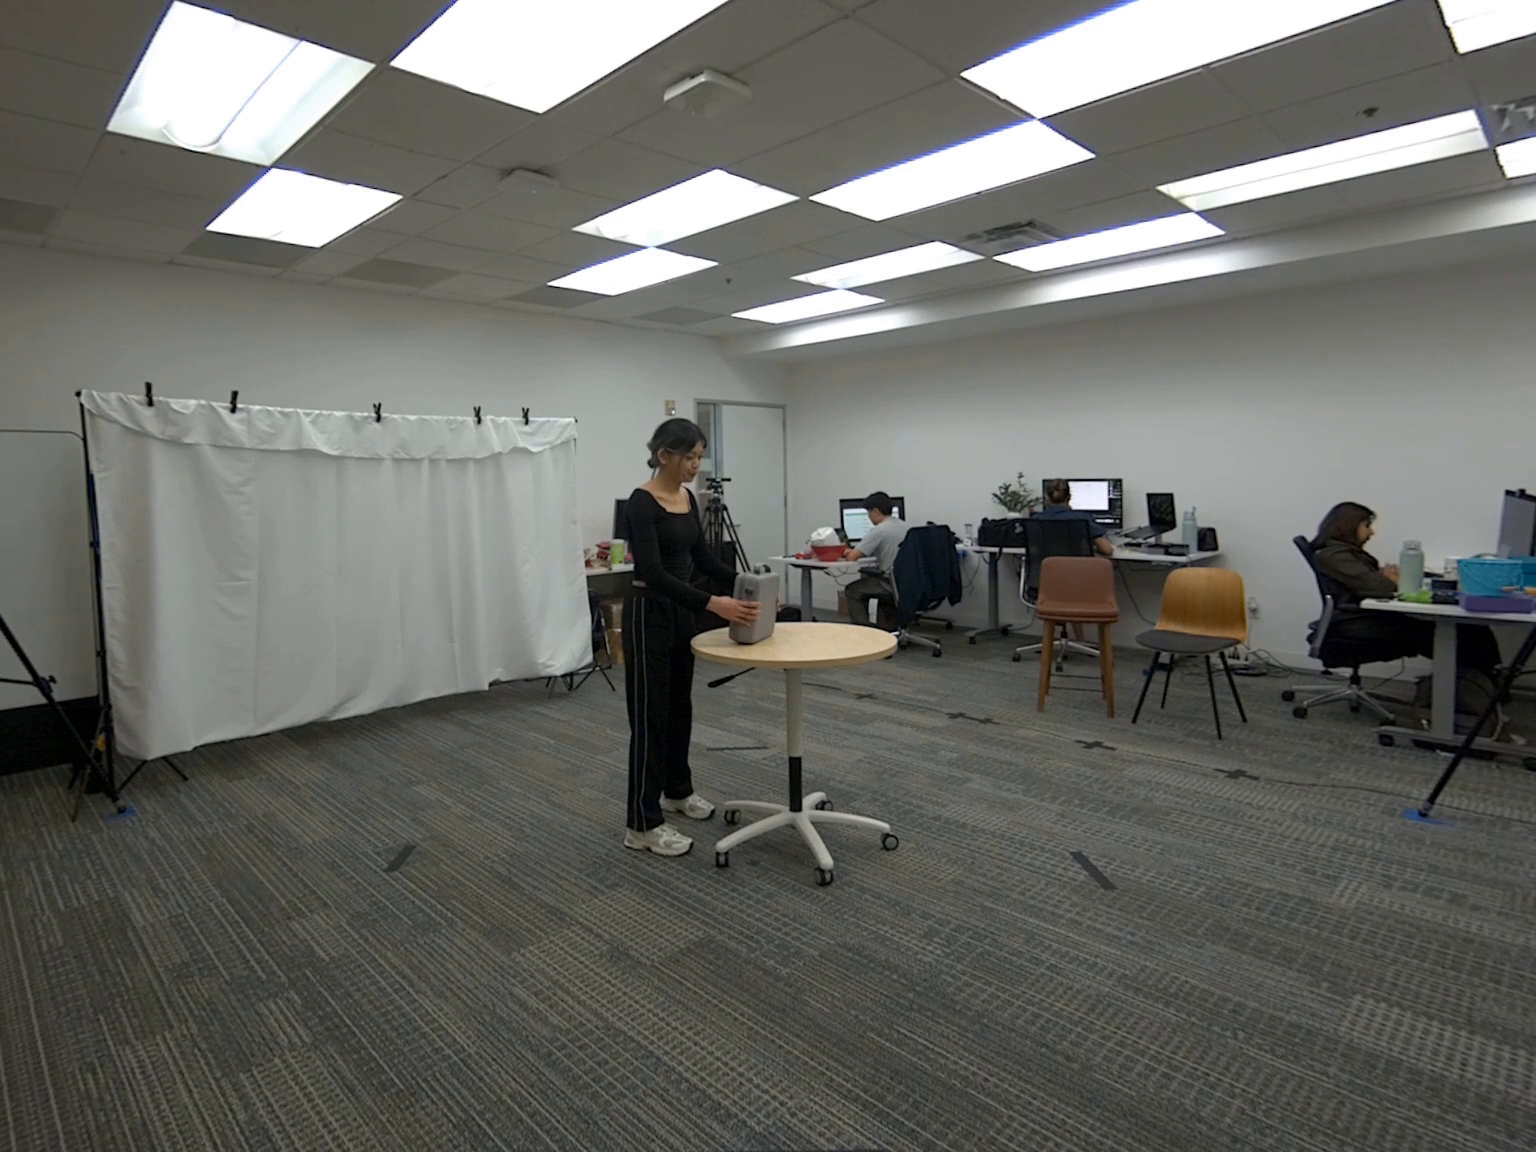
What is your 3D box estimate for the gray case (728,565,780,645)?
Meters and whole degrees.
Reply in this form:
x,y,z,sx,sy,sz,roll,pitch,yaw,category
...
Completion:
x,y,z,sx,sy,sz,roll,pitch,yaw,category
-0.051,0.108,3.191,0.106,0.259,0.252,7,6,20,gray case
